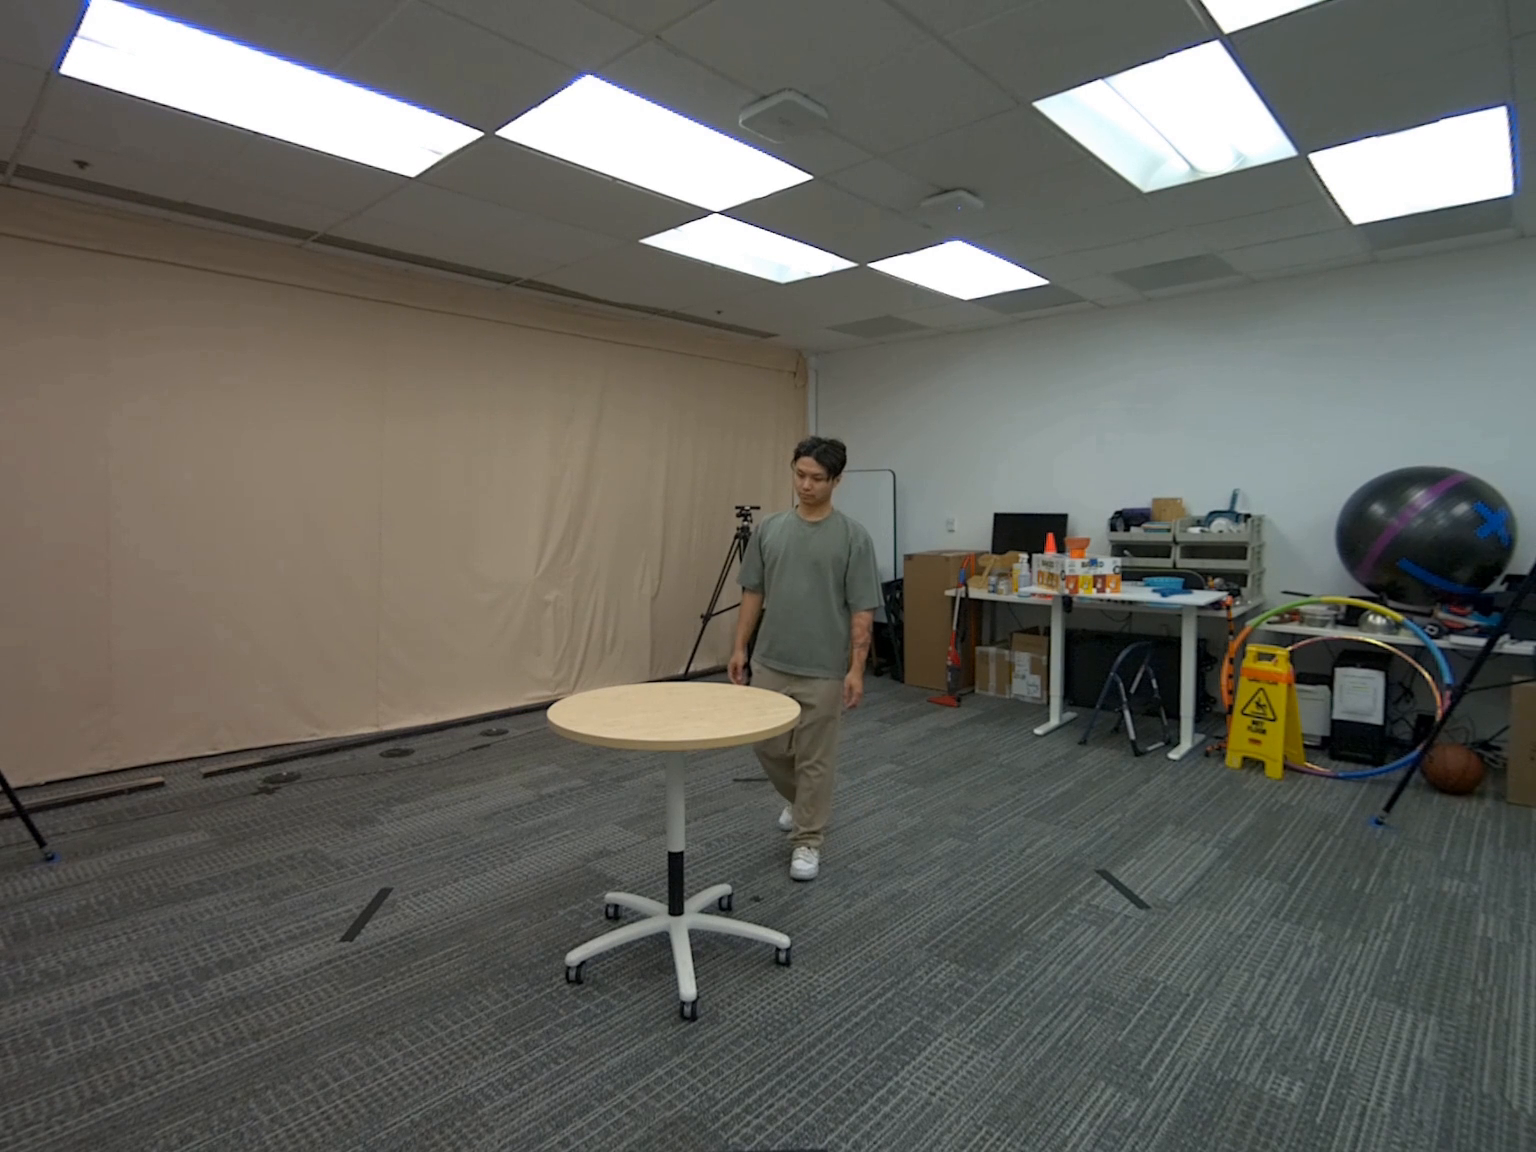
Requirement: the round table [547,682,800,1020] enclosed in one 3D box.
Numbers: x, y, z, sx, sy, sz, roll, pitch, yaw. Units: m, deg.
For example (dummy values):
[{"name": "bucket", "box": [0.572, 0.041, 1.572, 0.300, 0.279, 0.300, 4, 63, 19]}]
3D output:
[{"name": "round table", "box": [-0.269, 0.789, 2.579, 0.784, 0.785, 0.788, -1, 3, -2]}]
